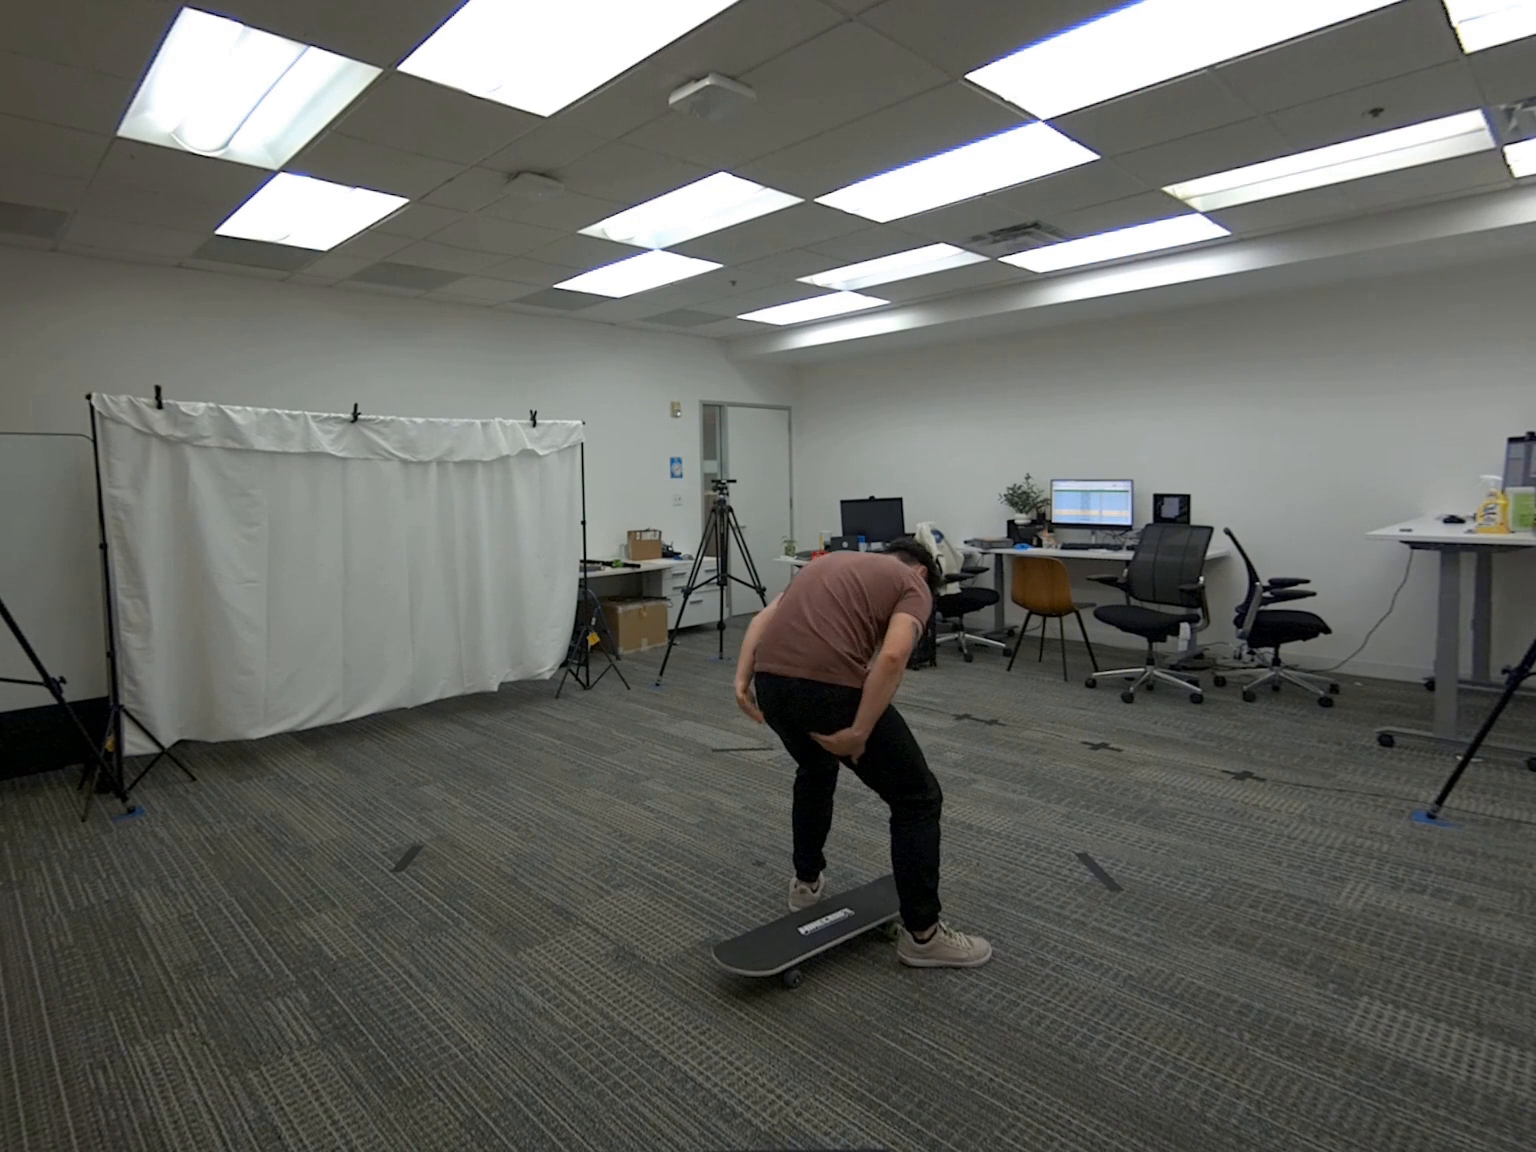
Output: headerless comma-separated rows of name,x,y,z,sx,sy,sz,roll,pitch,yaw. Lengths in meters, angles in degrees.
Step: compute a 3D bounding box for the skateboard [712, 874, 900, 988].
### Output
skateboard,0.185,1.058,2.526,0.766,0.110,0.199,-6,8,-37
